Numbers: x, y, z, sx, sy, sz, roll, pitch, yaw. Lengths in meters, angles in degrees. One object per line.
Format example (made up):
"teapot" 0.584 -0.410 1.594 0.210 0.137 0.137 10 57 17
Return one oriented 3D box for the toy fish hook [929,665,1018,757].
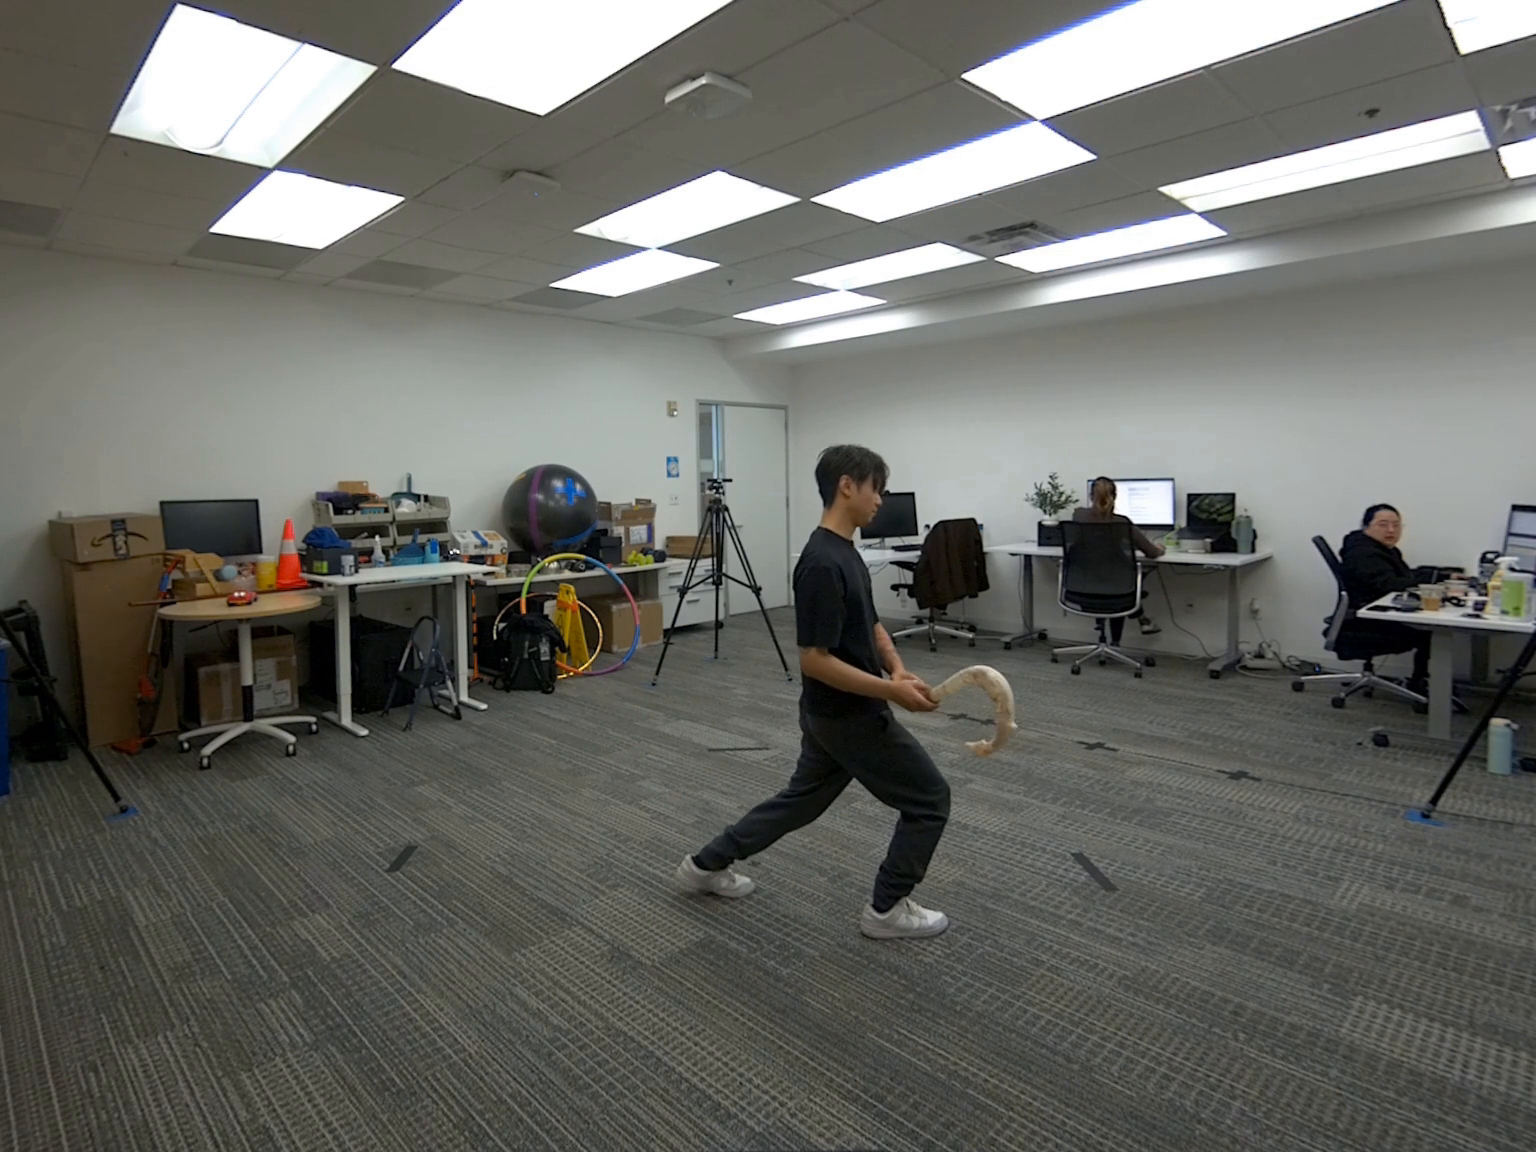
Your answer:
"toy fish hook" 0.501 0.357 2.291 0.047 0.227 0.510 4 -13 -21
